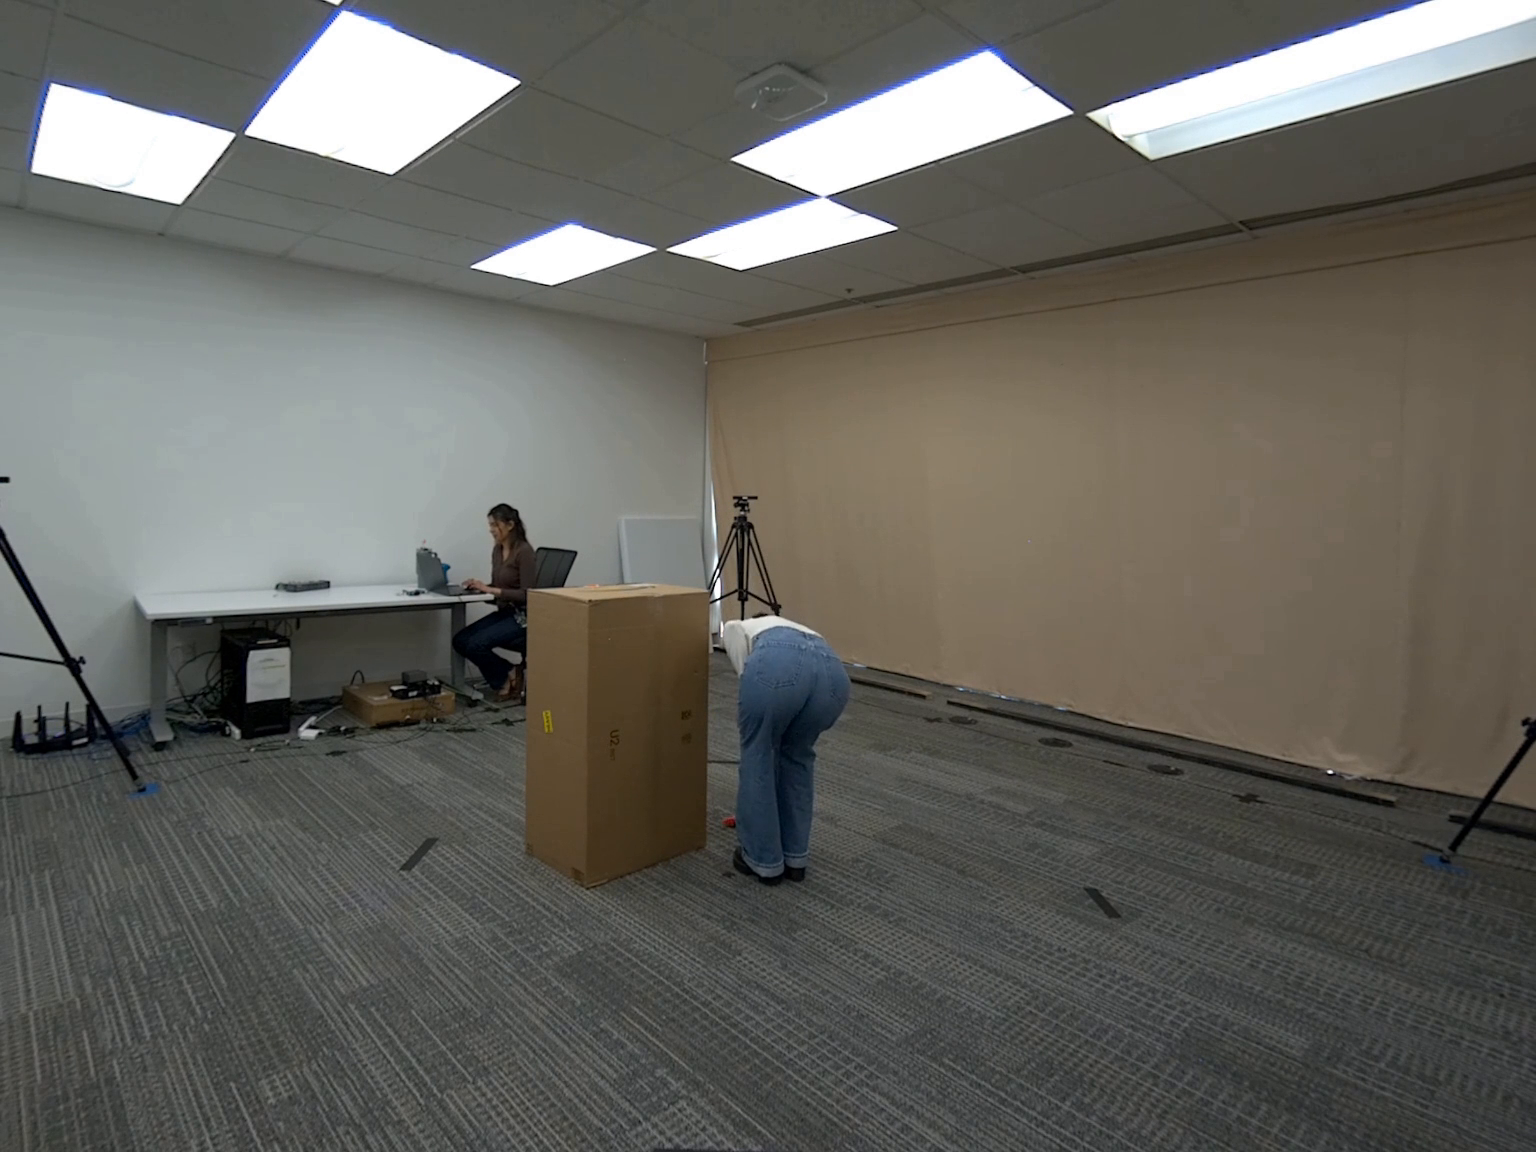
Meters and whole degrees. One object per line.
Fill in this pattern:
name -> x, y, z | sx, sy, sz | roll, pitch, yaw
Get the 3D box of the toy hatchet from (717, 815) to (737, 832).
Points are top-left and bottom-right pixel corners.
toy hatchet -> -0.062, 1.049, 3.532 | 0.276, 0.030, 0.128 | 2, -4, 30
